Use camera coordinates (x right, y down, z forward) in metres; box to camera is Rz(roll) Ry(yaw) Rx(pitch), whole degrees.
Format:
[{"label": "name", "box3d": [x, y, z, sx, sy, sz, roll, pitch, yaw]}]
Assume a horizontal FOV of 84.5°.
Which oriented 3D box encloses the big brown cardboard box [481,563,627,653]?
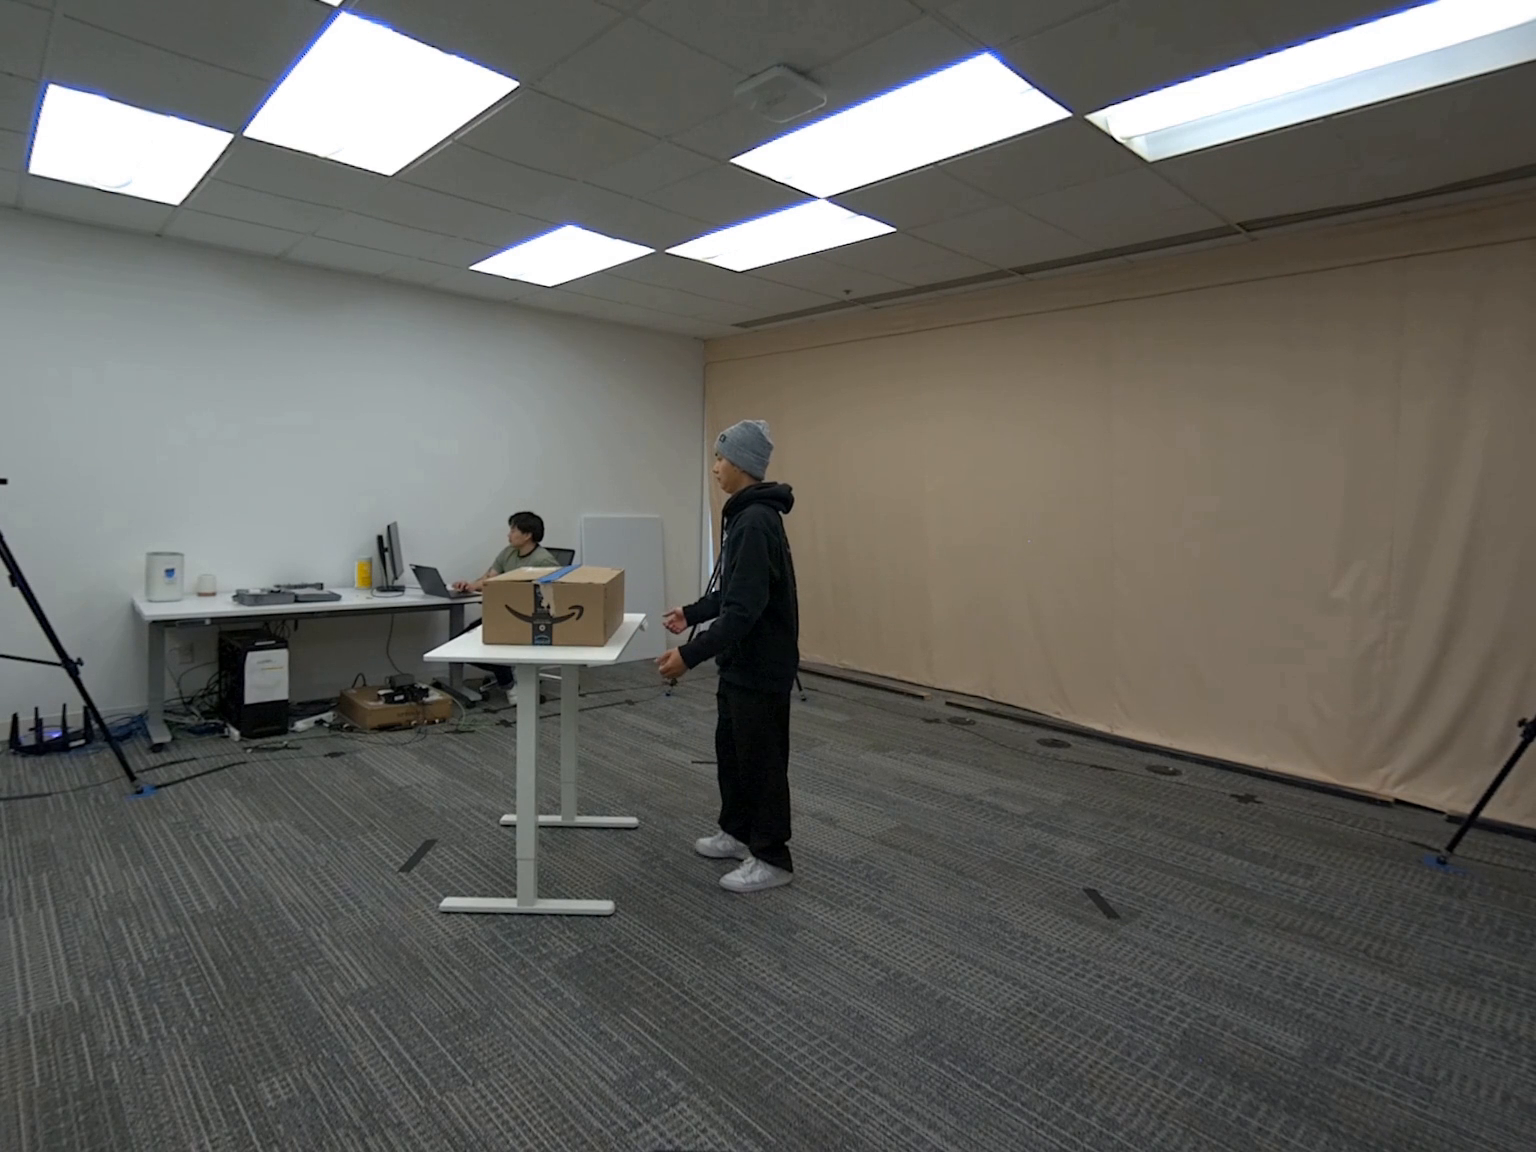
[{"label": "big brown cardboard box", "box3d": [-0.768, 0.101, 3.120, 0.417, 0.232, 0.592, 1, 6, -2]}]
